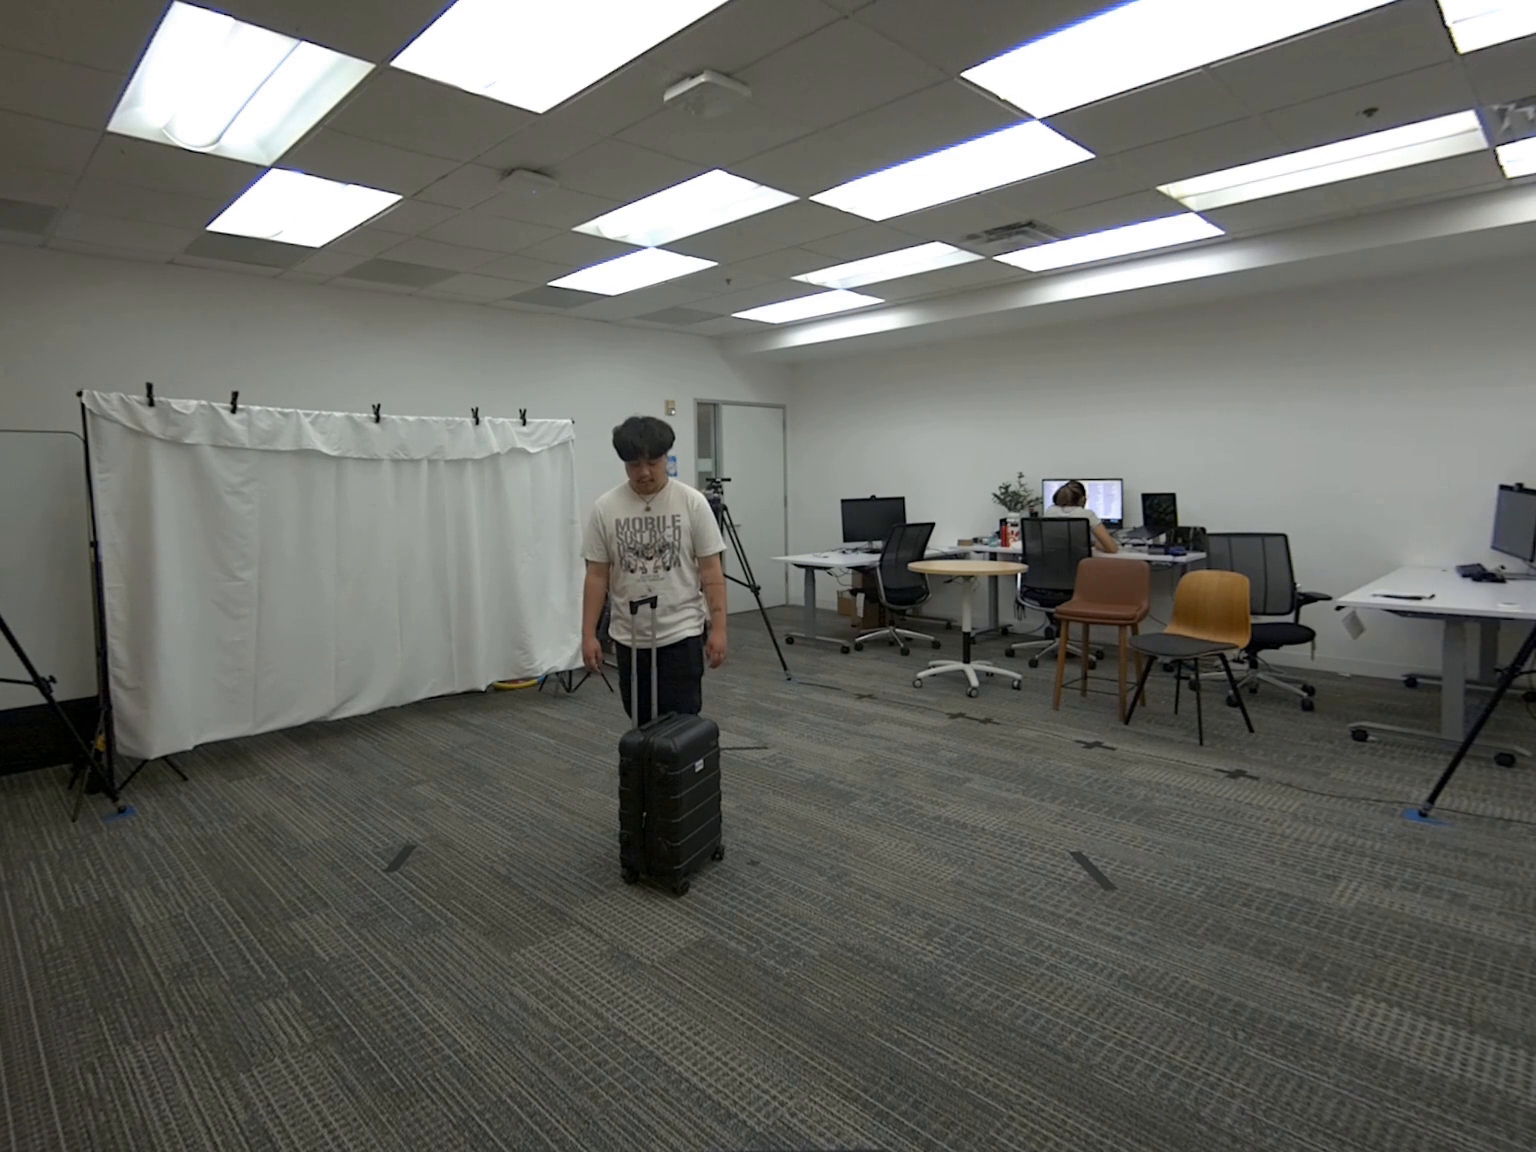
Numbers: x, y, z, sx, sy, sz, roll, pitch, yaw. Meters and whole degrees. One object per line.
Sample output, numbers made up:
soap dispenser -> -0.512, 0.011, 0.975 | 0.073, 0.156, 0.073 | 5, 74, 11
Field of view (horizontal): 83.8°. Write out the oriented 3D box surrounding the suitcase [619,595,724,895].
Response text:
suitcase -> -0.336, 0.587, 3.007 | 0.263, 0.973, 0.377 | 4, 7, 26
